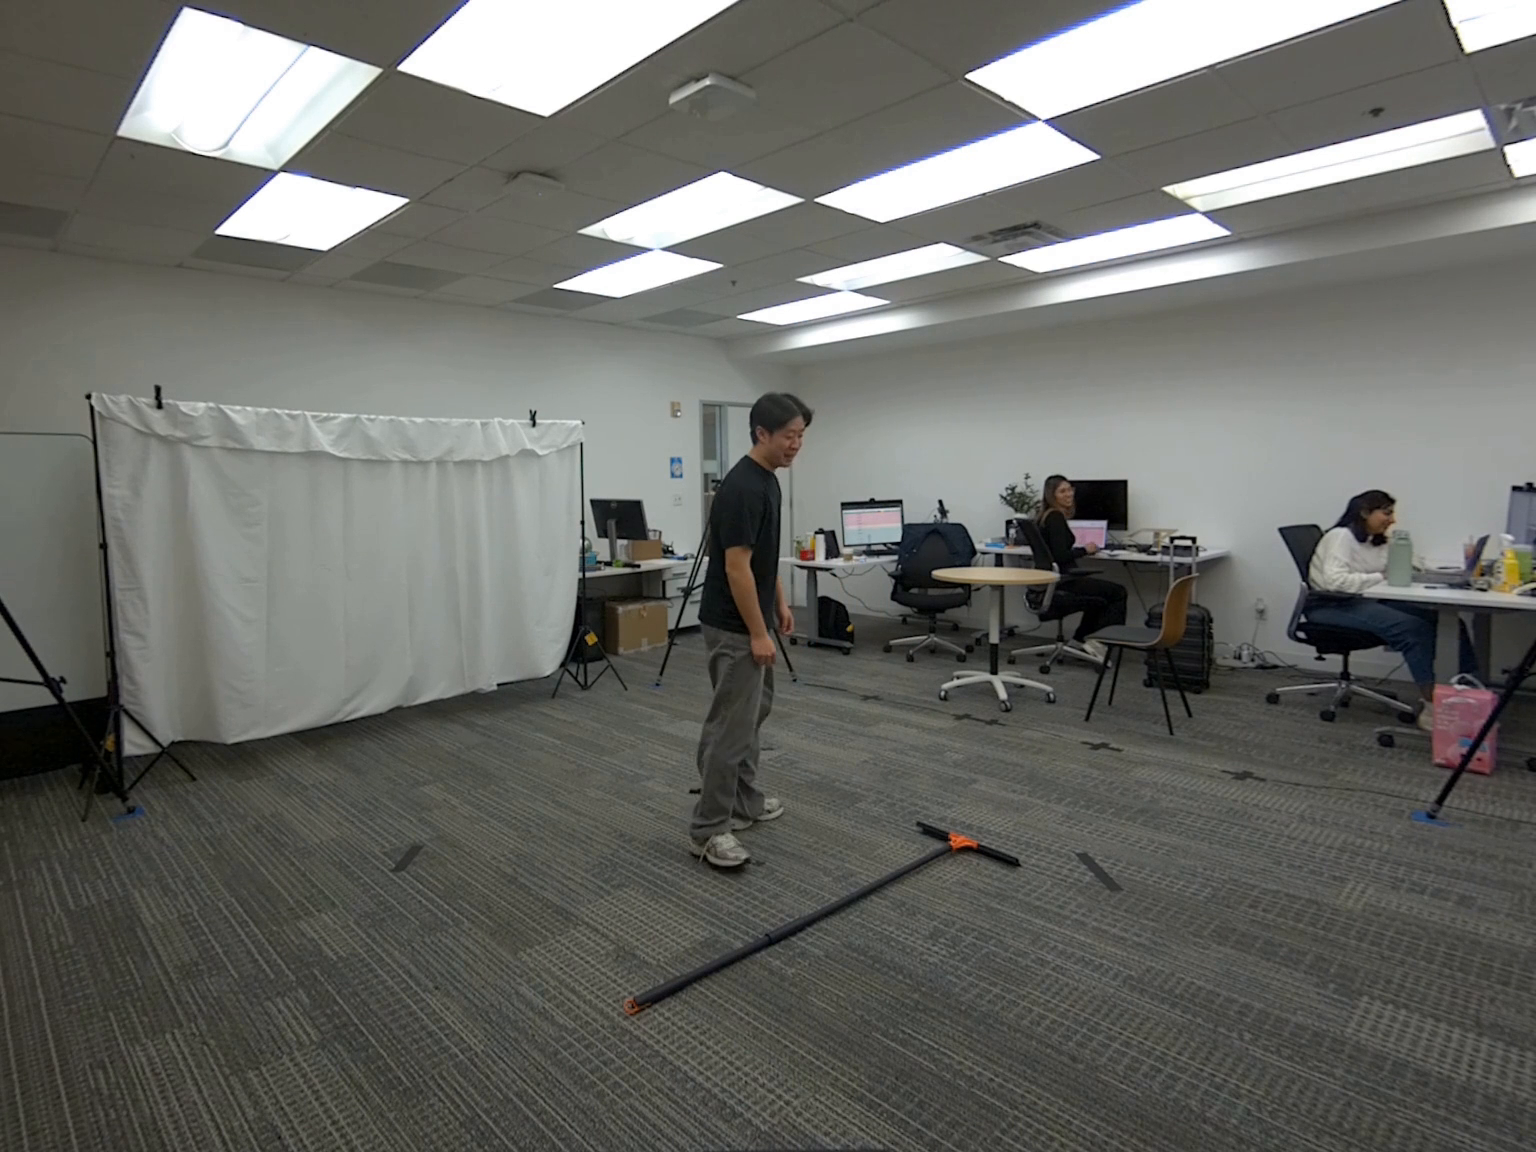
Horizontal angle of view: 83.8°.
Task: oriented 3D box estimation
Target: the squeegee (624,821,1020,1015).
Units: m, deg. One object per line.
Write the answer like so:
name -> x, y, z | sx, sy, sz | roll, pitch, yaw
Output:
squeegee -> 0.192, 1.049, 2.738 | 1.499, 0.053, 0.451 | -8, 9, -40
